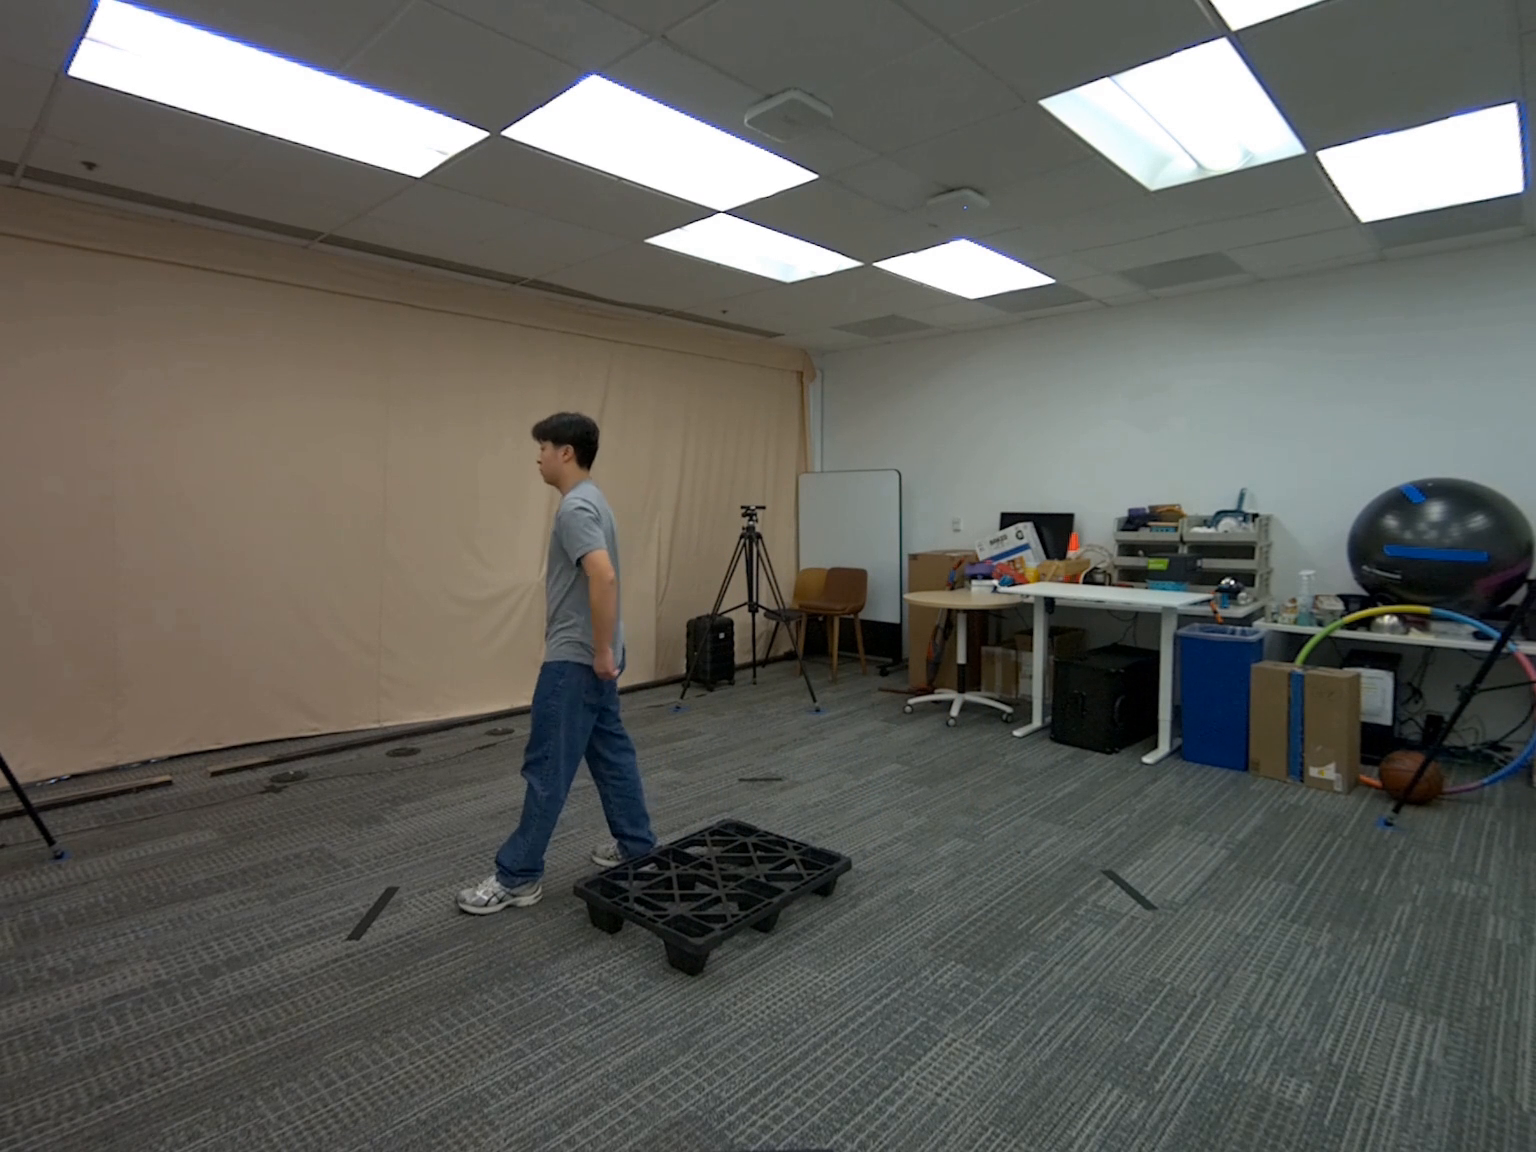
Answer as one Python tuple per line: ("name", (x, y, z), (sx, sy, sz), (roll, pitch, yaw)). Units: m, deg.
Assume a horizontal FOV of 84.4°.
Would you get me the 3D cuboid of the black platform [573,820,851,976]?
("black platform", (-0.177, 1.085, 2.905), (0.625, 0.143, 0.781), (3, 6, 40))
